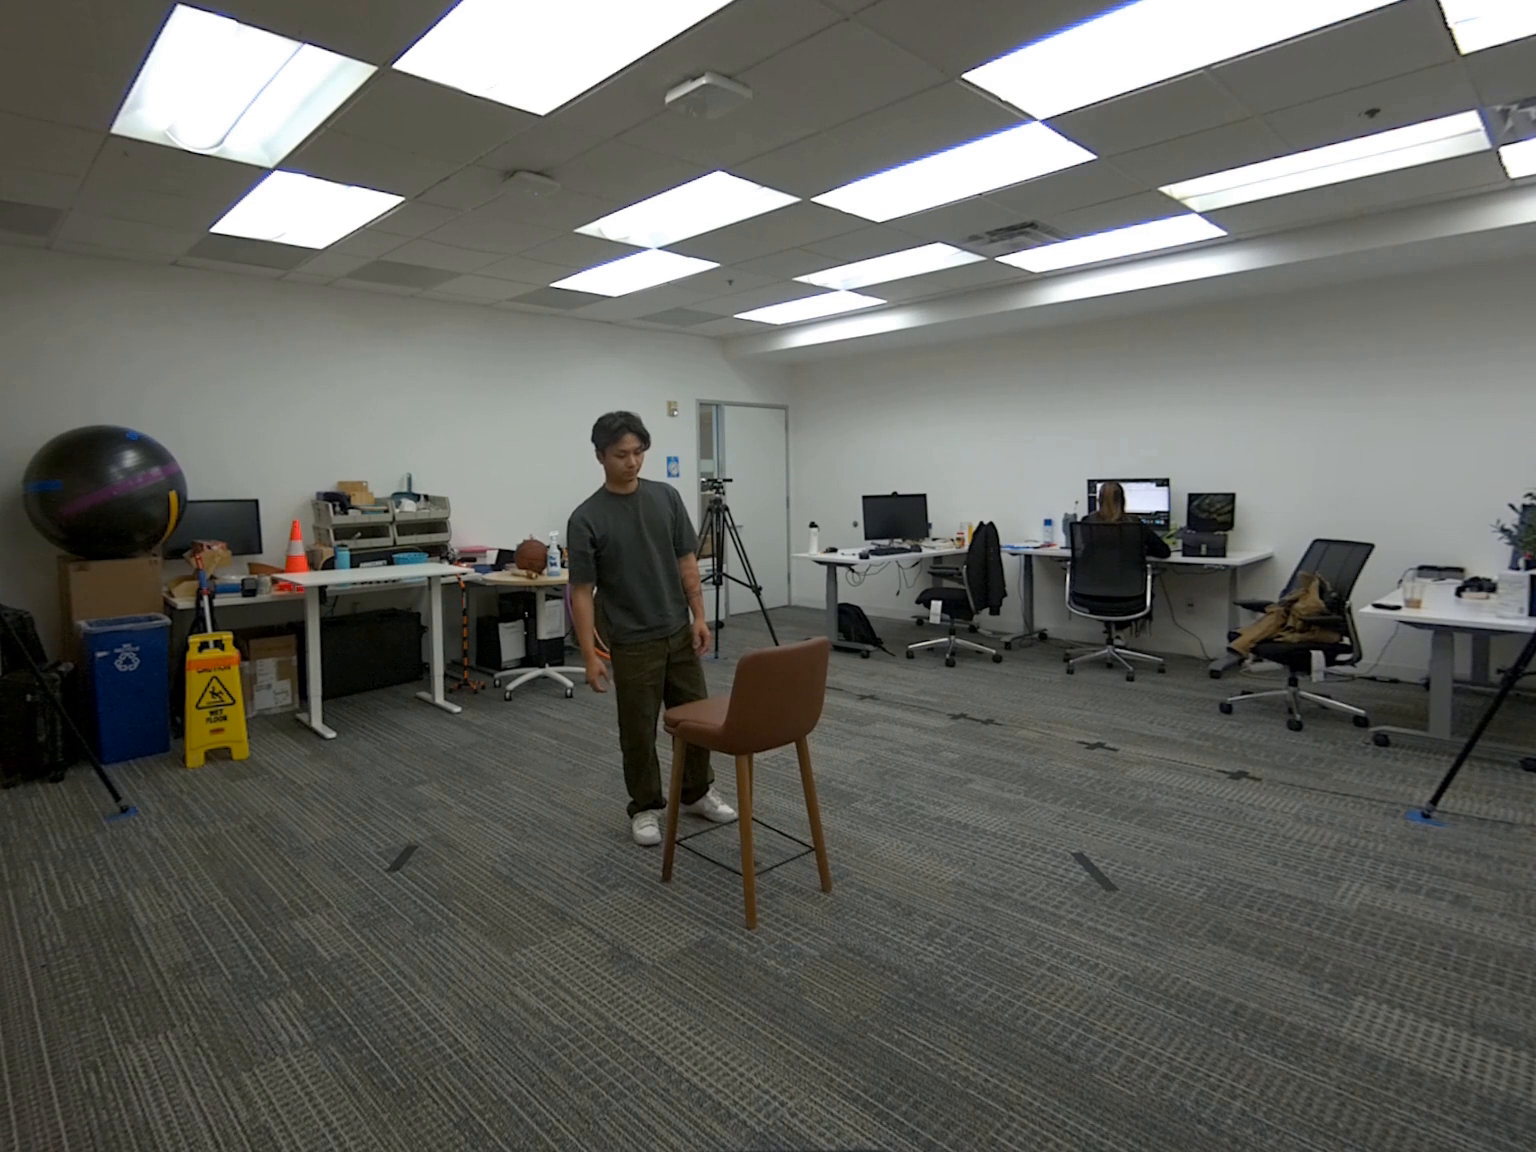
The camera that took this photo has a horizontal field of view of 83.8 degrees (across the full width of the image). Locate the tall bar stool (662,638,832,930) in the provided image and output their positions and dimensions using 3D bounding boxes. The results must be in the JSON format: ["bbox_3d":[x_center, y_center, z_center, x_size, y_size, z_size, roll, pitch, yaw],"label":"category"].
[{"bbox_3d":[-0.070,0.632,2.908,0.444,0.885,0.483,-4,8,-42],"label":"tall bar stool"}]
